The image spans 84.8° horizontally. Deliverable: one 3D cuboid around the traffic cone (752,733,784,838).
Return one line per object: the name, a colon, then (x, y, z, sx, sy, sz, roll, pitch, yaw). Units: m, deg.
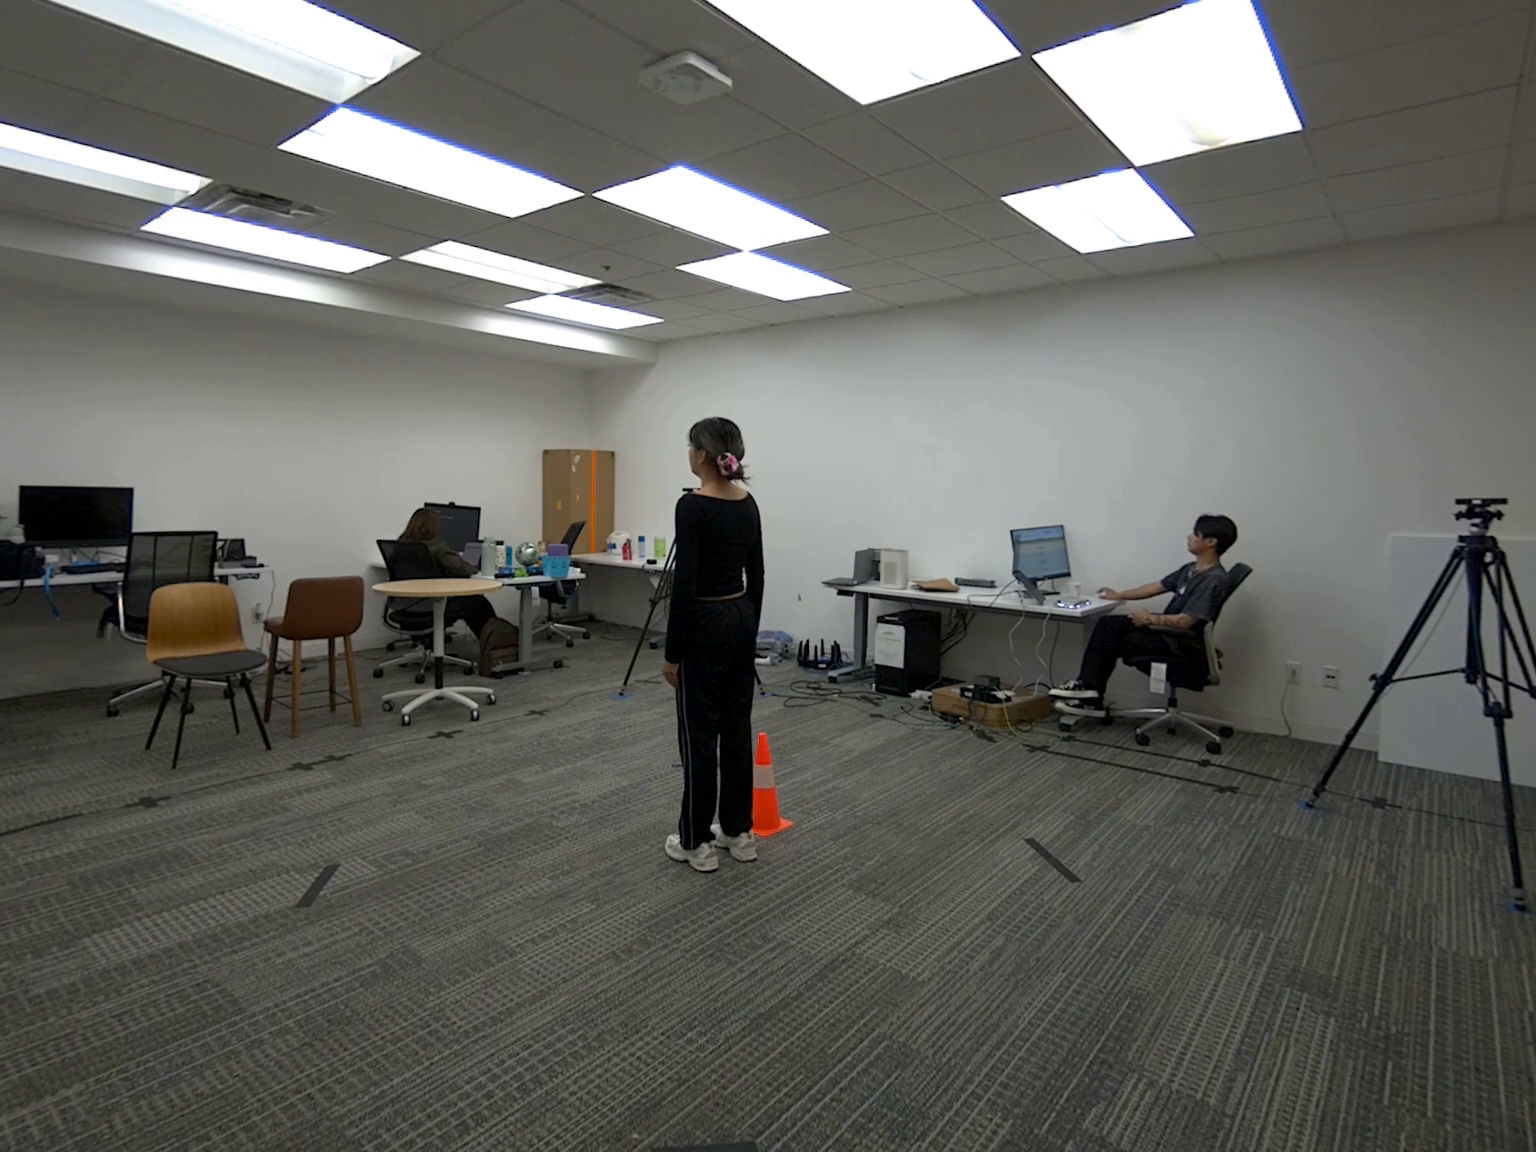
traffic cone: (-0.033, 0.843, 3.546, 0.197, 0.383, 0.212, 0, 3, -37)
